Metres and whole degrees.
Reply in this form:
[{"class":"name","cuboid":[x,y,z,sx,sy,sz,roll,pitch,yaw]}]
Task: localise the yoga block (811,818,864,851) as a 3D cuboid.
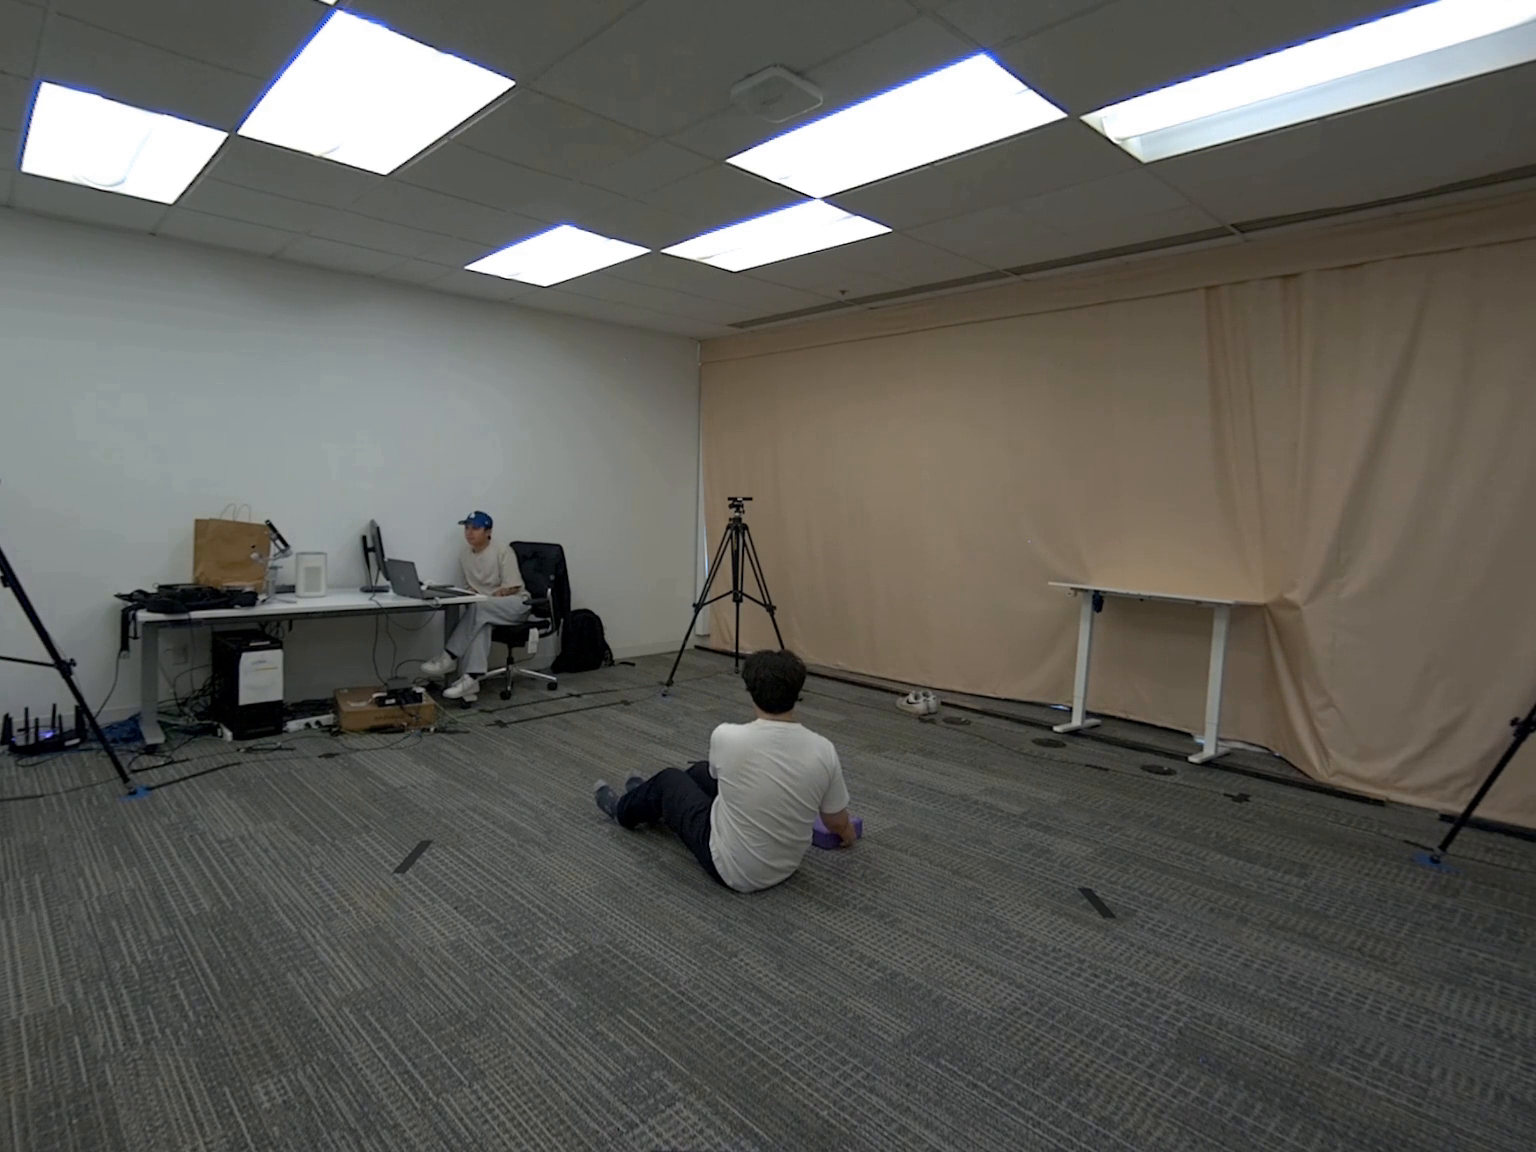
[{"class":"yoga block","cuboid":[0.258,1.047,3.477,0.153,0.076,0.224,3,5,42]}]
